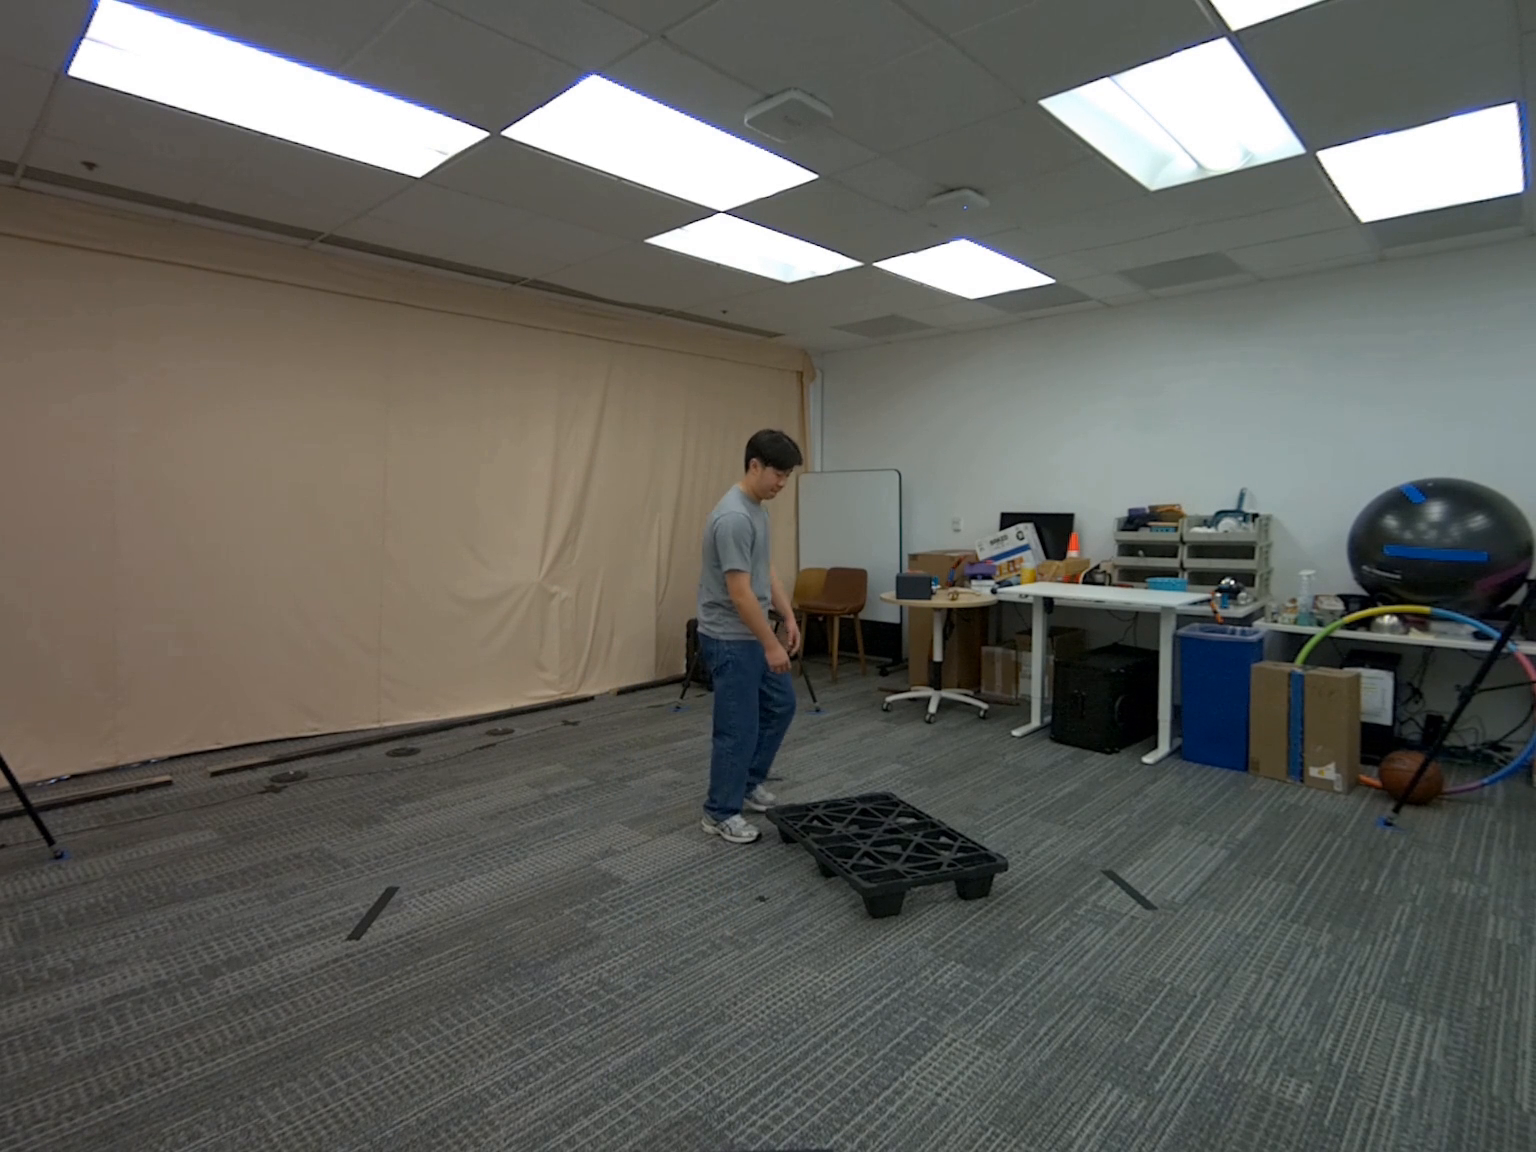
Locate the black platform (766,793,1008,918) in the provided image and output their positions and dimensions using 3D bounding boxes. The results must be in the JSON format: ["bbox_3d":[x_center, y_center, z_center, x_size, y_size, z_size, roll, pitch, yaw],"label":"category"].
[{"bbox_3d":[0.426,1.055,3.236,0.592,0.143,0.825,-2,5,-23],"label":"black platform"}]
